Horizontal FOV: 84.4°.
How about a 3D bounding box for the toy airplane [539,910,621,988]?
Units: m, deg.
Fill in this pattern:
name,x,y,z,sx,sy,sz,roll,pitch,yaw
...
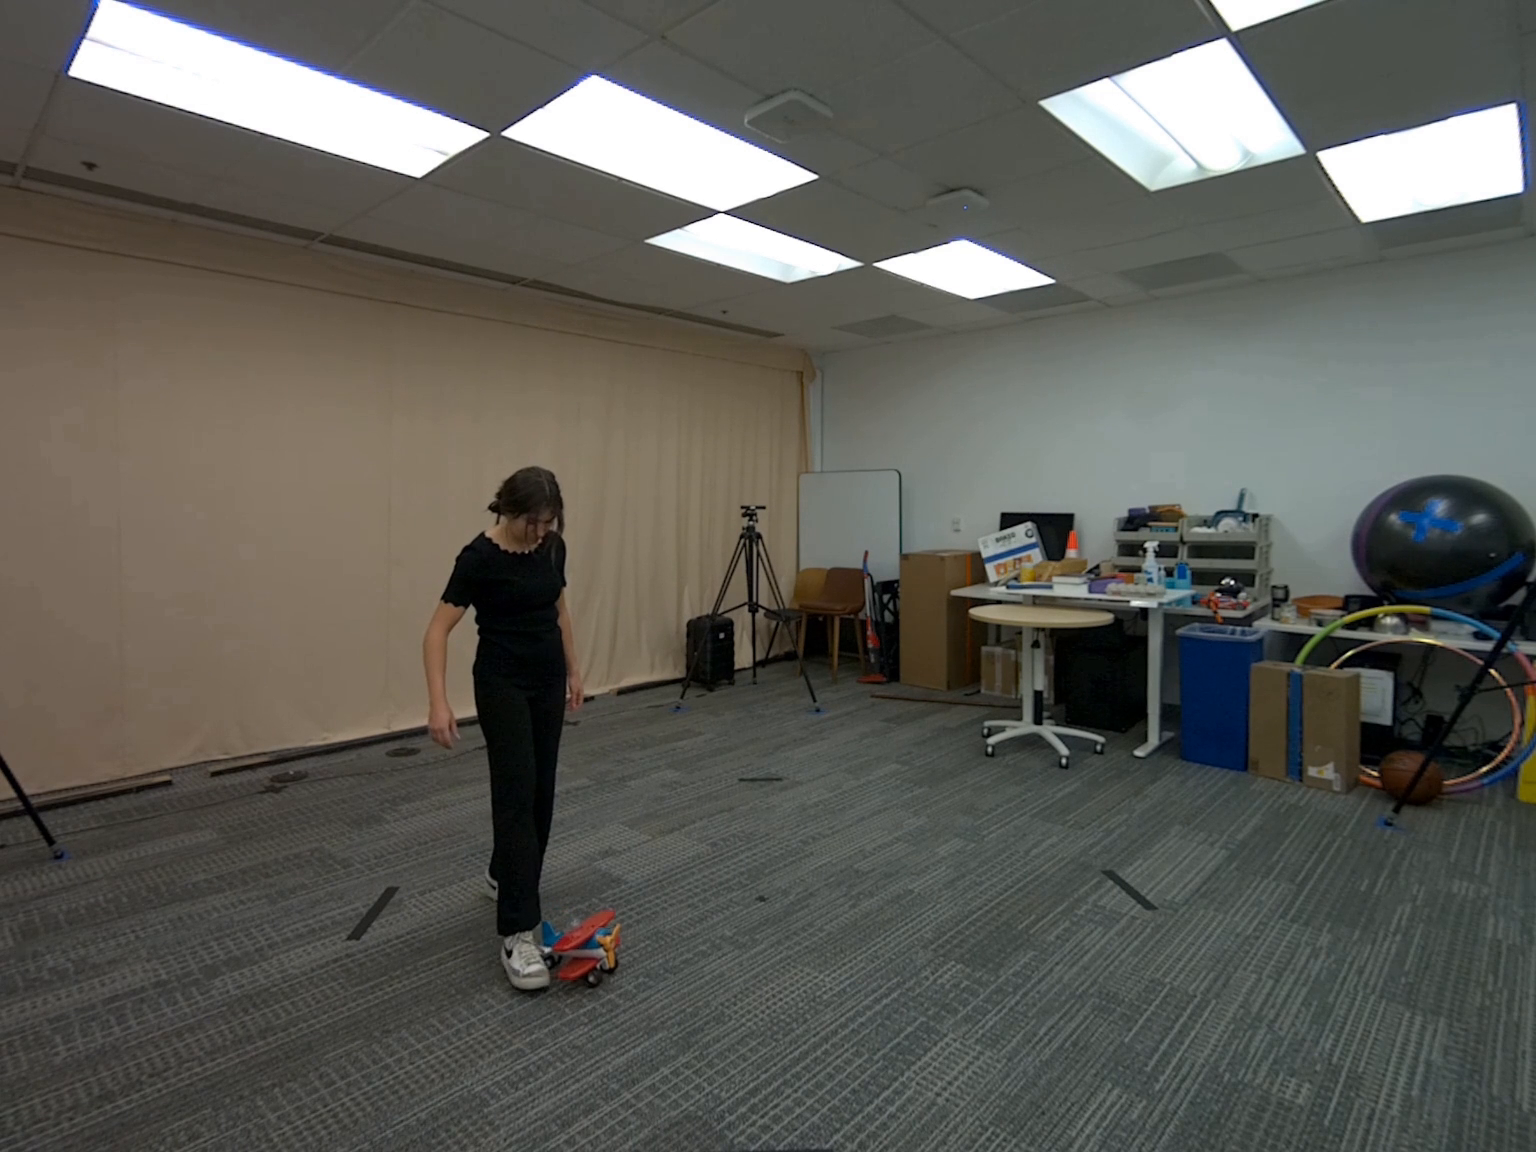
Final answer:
name,x,y,z,sx,sy,sz,roll,pitch,yaw
toy airplane,-0.581,1.116,2.495,0.258,0.156,0.252,1,4,-3
